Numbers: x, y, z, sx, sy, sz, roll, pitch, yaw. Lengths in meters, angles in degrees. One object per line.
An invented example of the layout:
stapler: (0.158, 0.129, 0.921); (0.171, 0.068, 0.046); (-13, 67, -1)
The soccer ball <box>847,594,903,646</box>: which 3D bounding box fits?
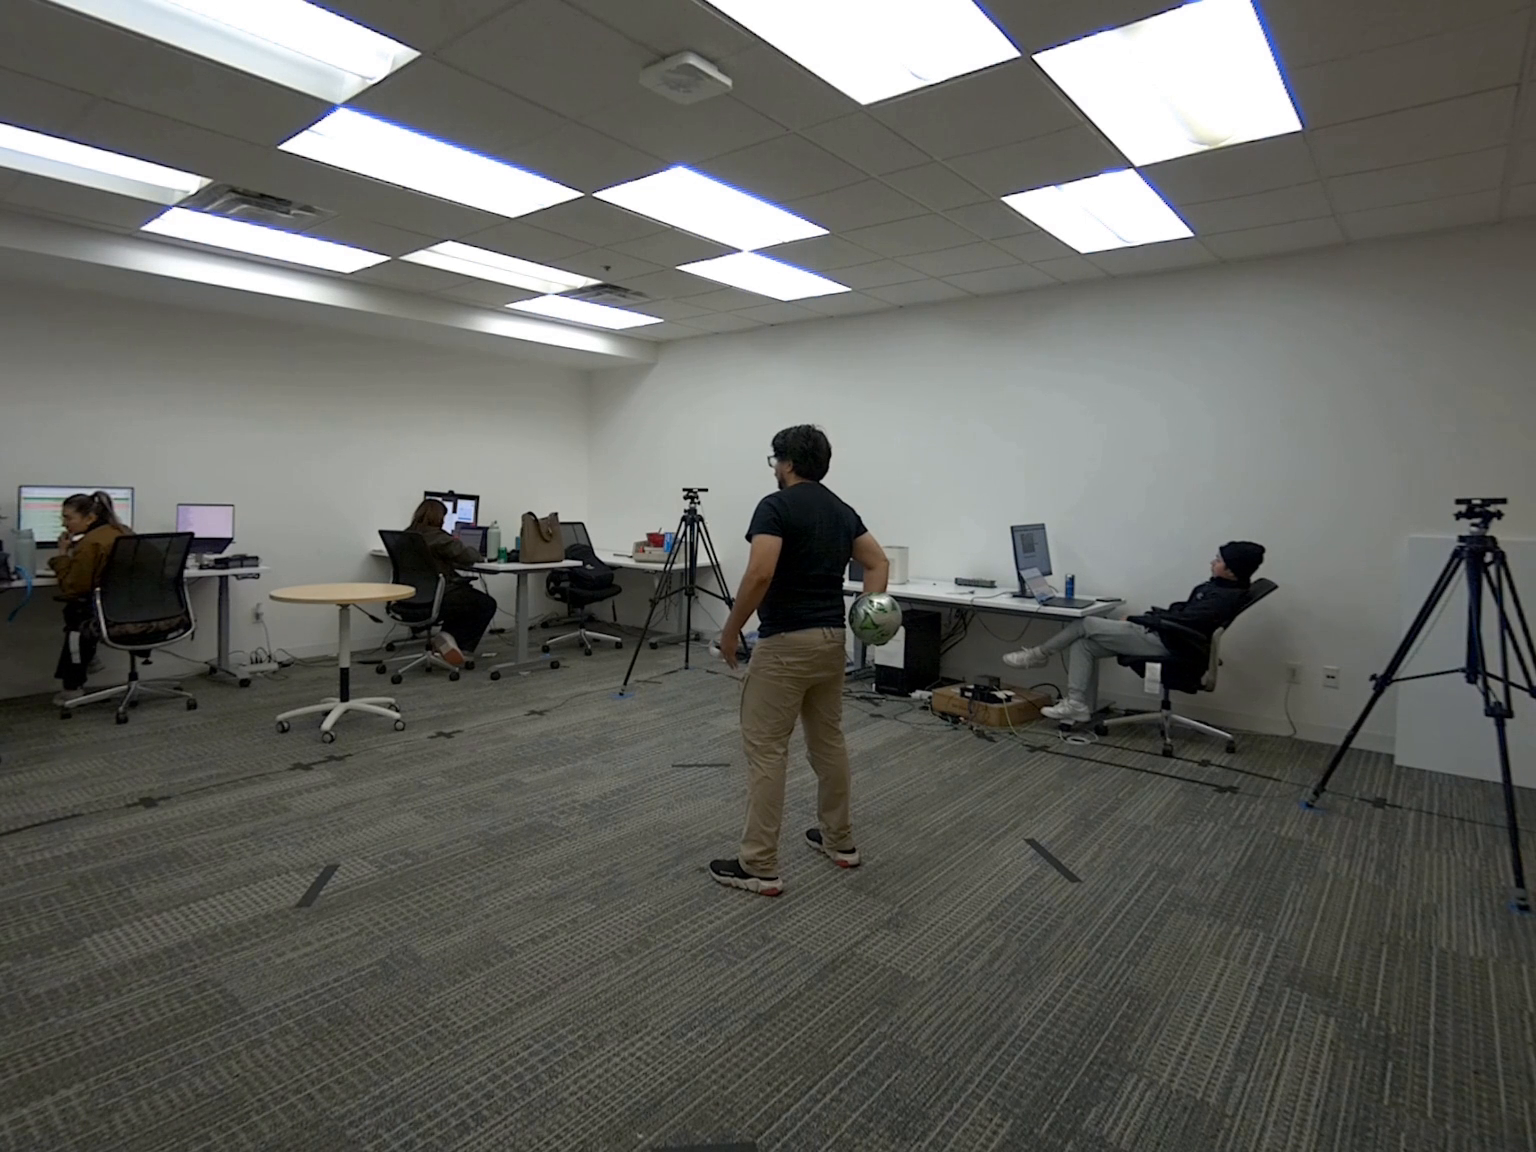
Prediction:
soccer ball: (0.376, 0.148, 3.046); (0.187, 0.187, 0.188); (1, 4, -2)
